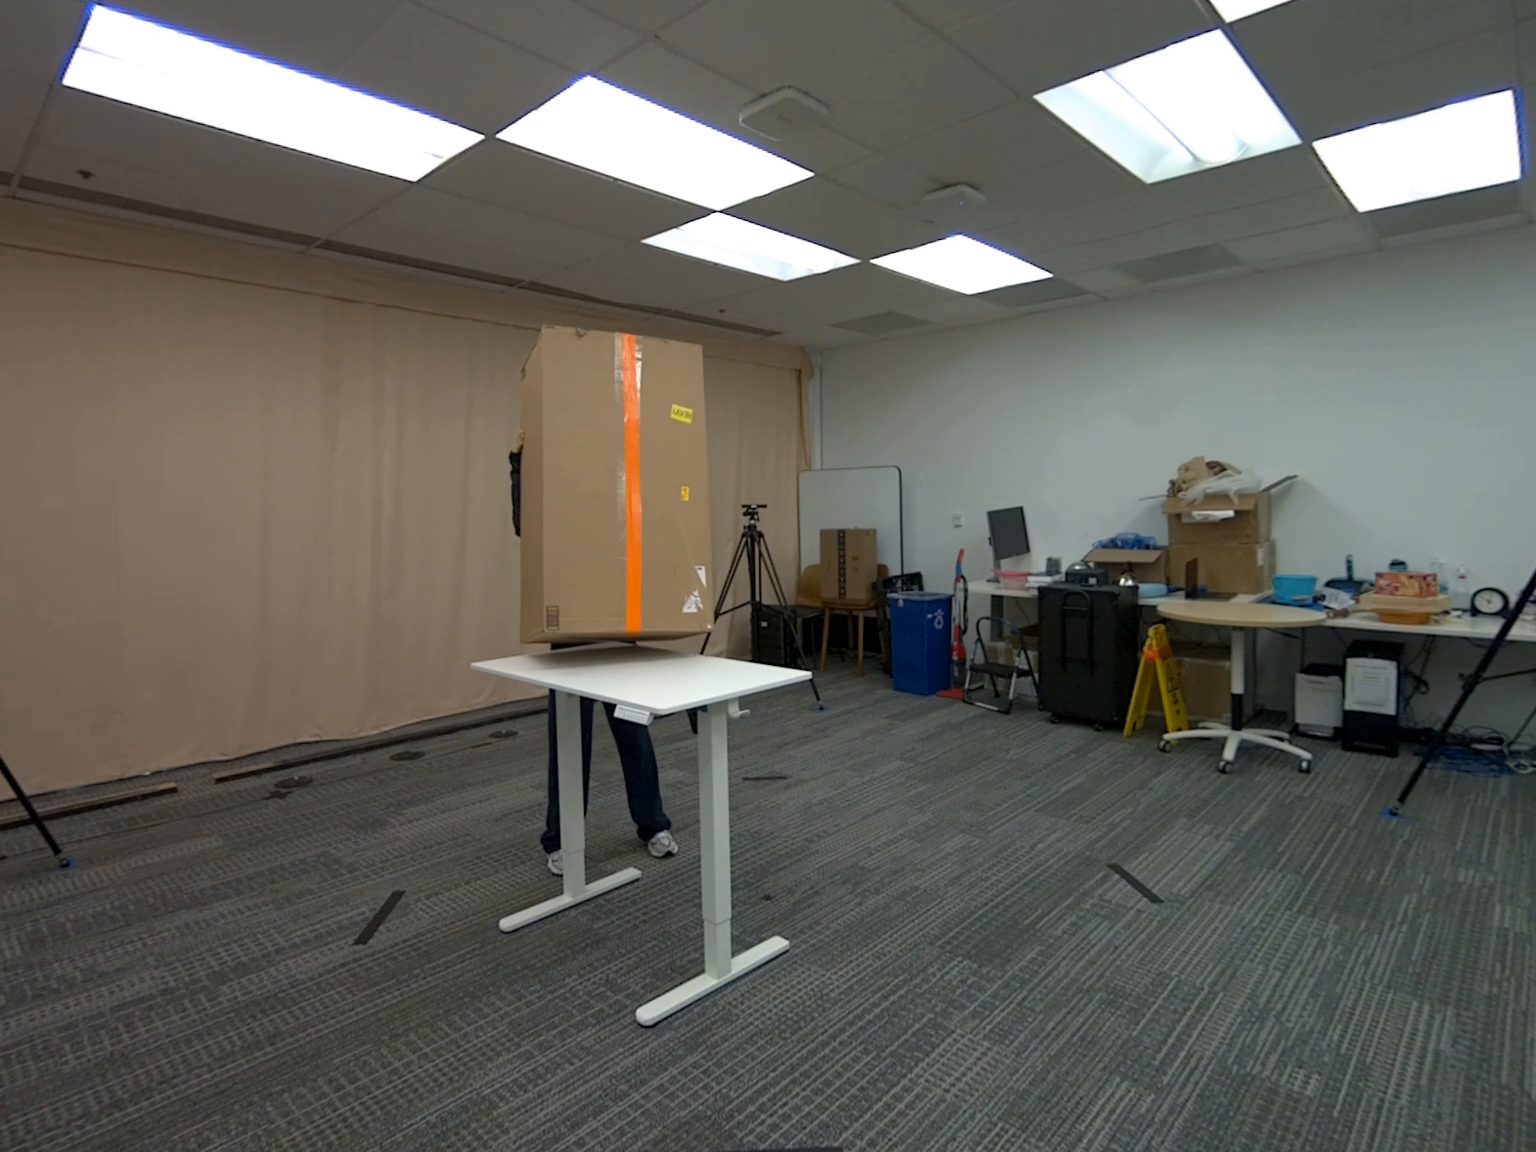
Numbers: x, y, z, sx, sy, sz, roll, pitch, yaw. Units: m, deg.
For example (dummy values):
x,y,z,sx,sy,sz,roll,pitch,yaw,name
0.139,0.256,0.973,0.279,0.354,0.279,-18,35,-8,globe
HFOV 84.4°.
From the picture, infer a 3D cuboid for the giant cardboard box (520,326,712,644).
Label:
x,y,z,sx,sy,sz,roll,pitch,yaw,name
-0.538,-0.288,2.986,0.570,1.033,0.454,1,-10,-23,giant cardboard box
